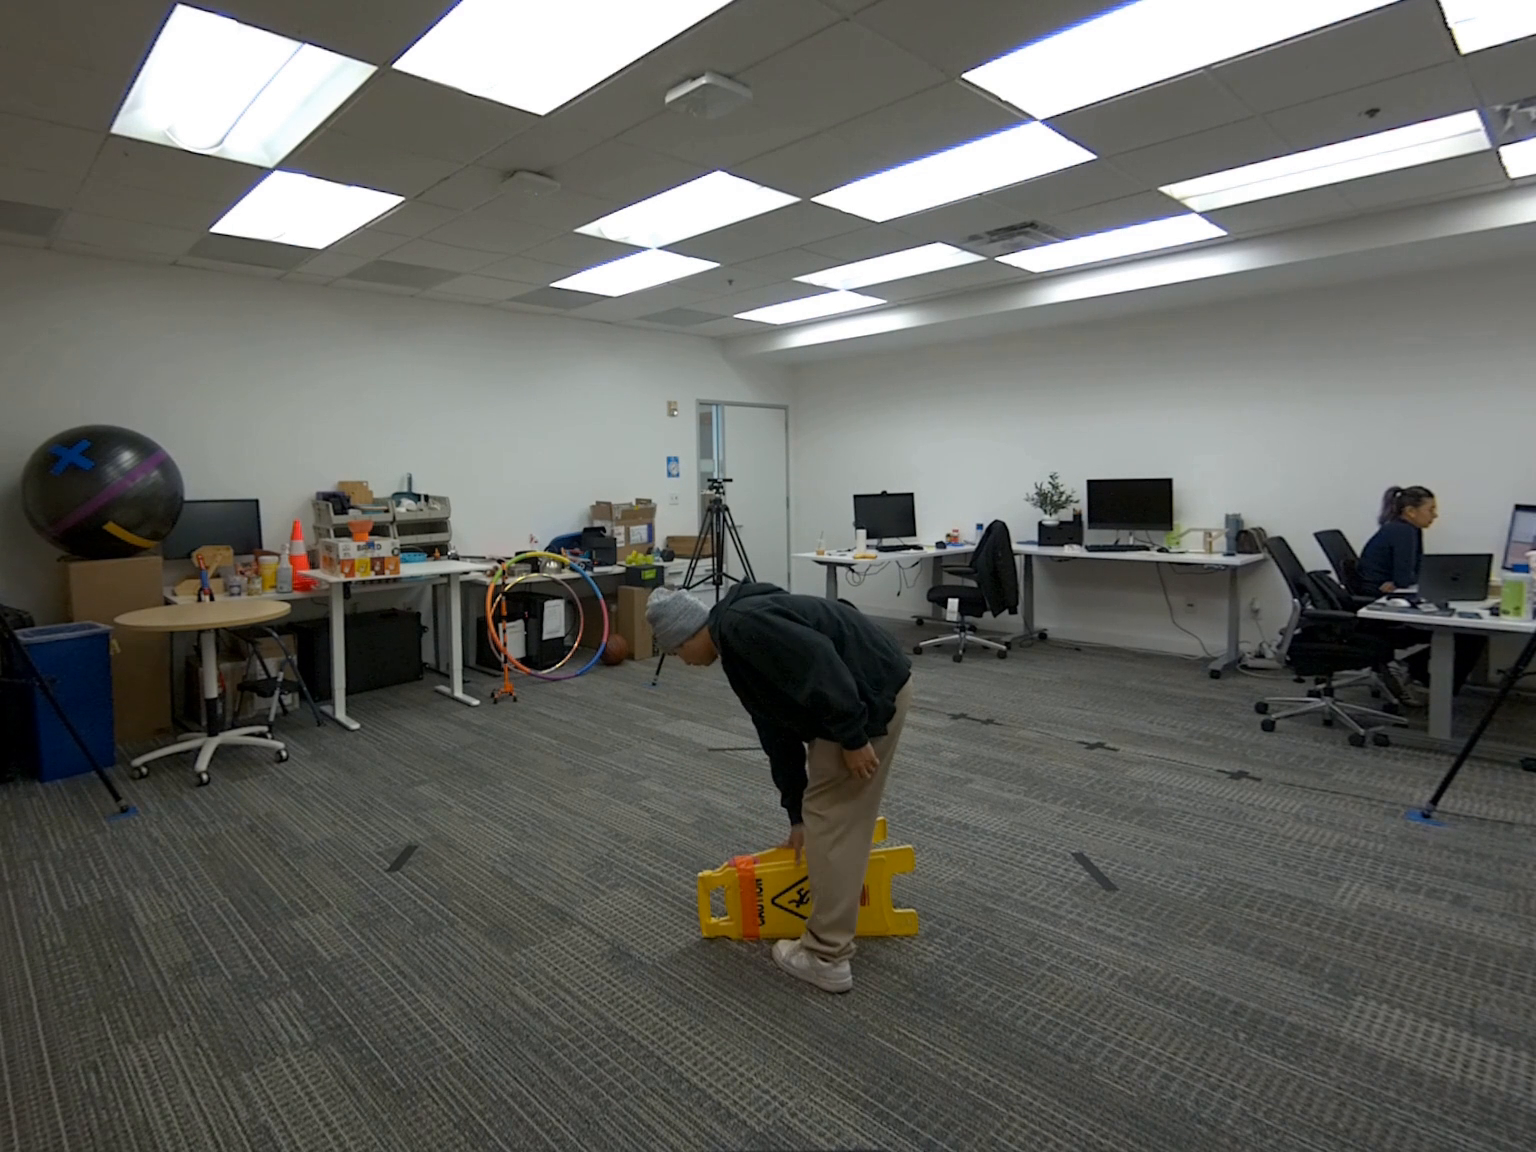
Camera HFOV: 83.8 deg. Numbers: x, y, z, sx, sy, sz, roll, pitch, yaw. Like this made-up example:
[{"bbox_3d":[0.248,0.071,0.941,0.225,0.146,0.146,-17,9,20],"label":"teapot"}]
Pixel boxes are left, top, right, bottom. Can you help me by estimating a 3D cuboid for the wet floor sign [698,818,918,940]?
[{"bbox_3d":[0.111,0.973,2.641,0.640,0.281,0.294,-5,6,-10],"label":"wet floor sign"}]
